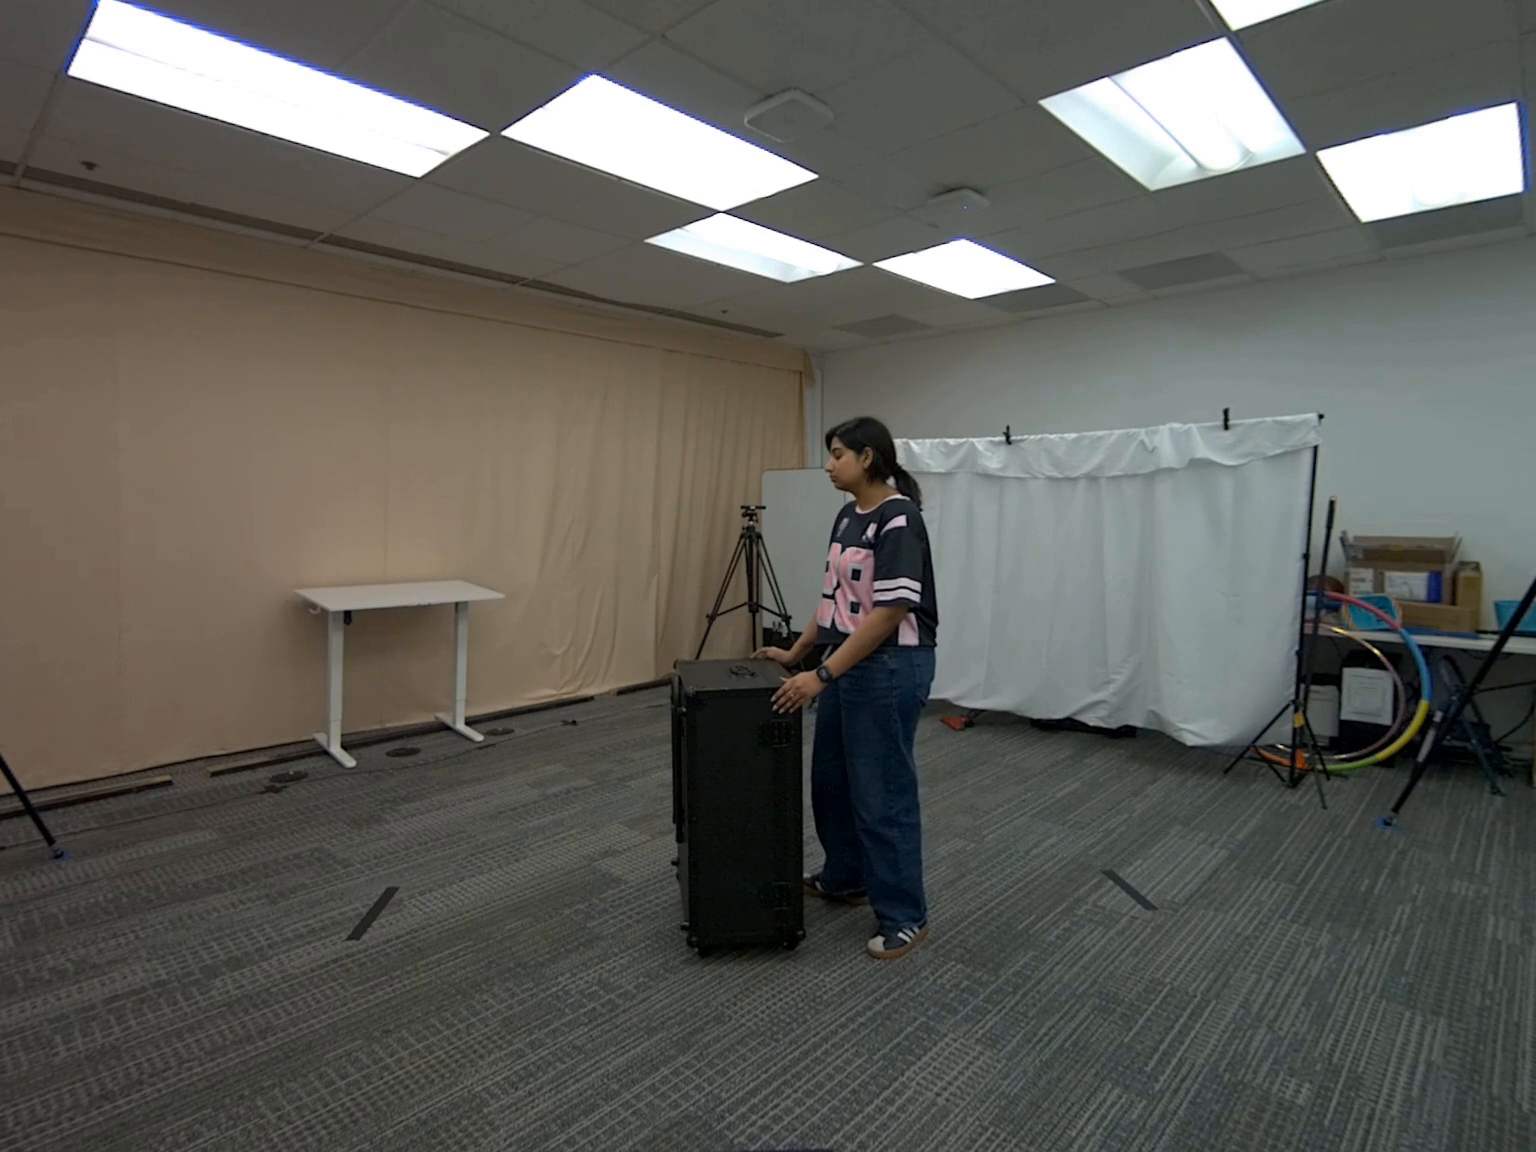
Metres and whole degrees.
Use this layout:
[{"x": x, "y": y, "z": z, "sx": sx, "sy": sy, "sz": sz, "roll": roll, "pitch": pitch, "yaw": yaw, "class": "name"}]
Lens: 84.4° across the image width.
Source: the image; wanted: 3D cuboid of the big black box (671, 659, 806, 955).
[{"x": -0.109, "y": 0.743, "z": 2.752, "sx": 0.381, "sy": 0.867, "sz": 0.529, "roll": -1, "pitch": 3, "yaw": -10, "class": "big black box"}]
